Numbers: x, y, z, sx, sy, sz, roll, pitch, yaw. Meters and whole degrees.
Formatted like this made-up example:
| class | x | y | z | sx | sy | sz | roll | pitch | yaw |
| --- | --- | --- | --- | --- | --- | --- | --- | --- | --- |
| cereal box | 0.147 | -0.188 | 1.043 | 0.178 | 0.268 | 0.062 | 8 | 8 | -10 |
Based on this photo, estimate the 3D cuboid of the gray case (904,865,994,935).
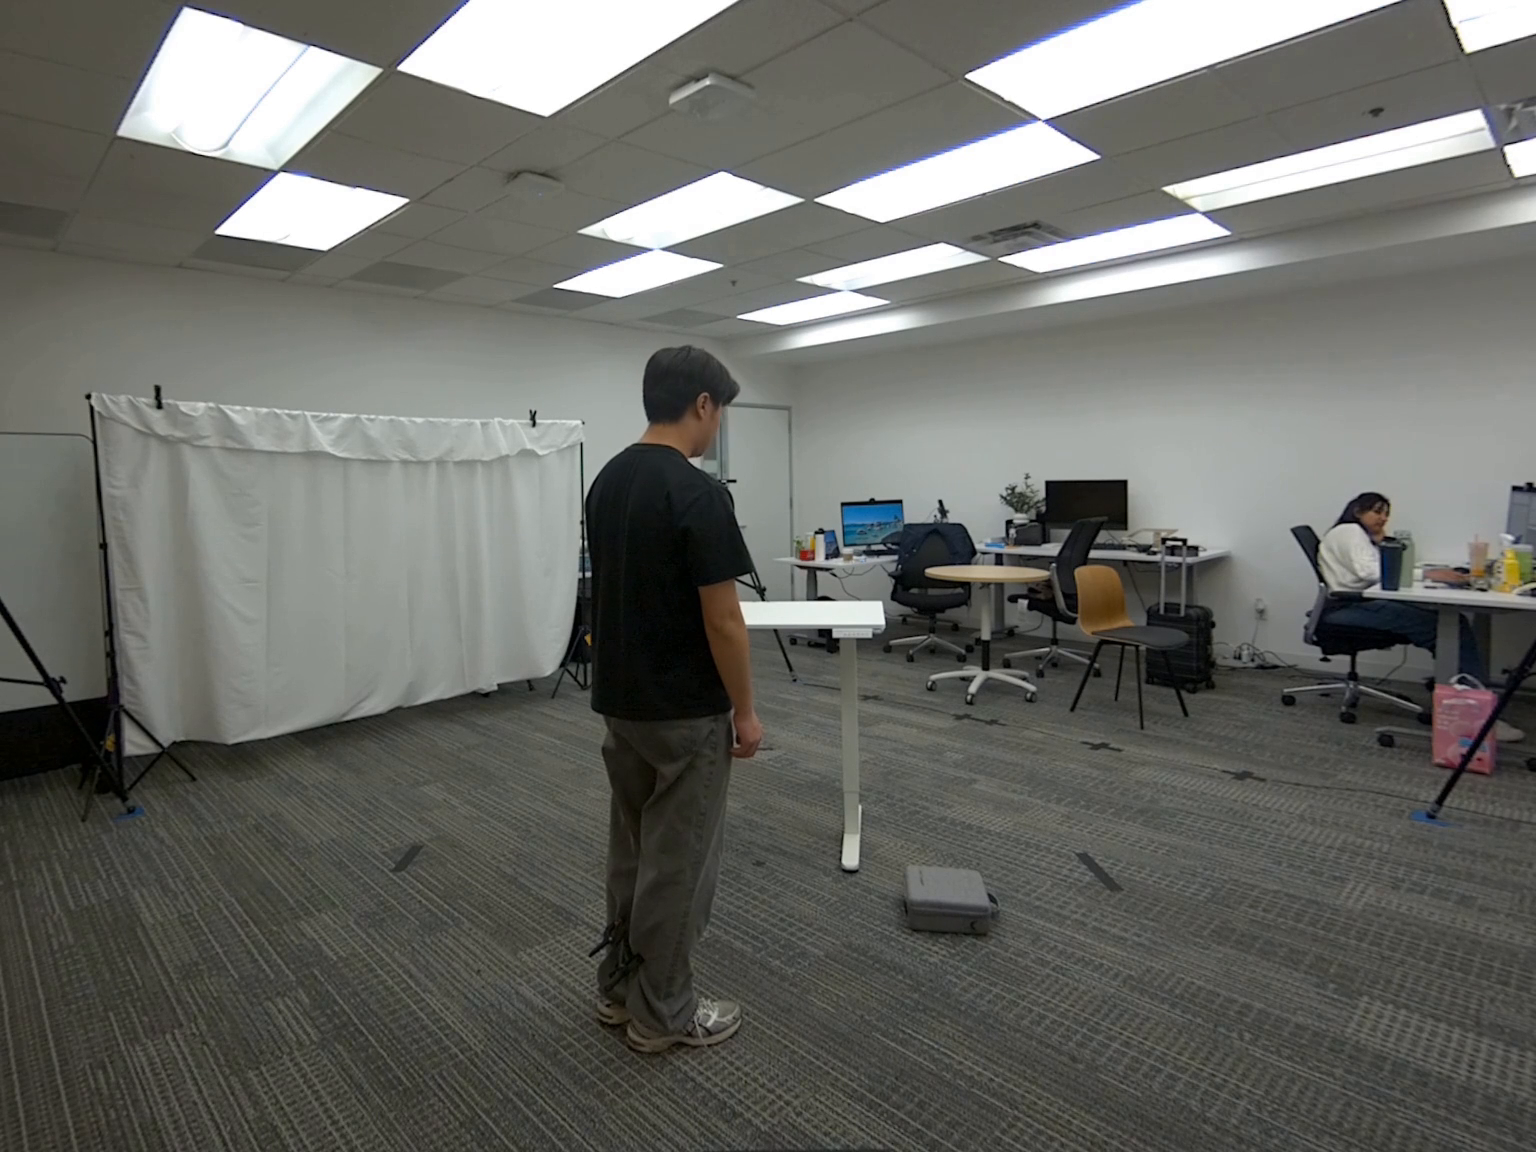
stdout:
| class | x | y | z | sx | sy | sz | roll | pitch | yaw |
| --- | --- | --- | --- | --- | --- | --- | --- | --- | --- |
| gray case | 0.581 | 1.021 | 2.719 | 0.290 | 0.103 | 0.261 | 0 | 5 | 9 |
